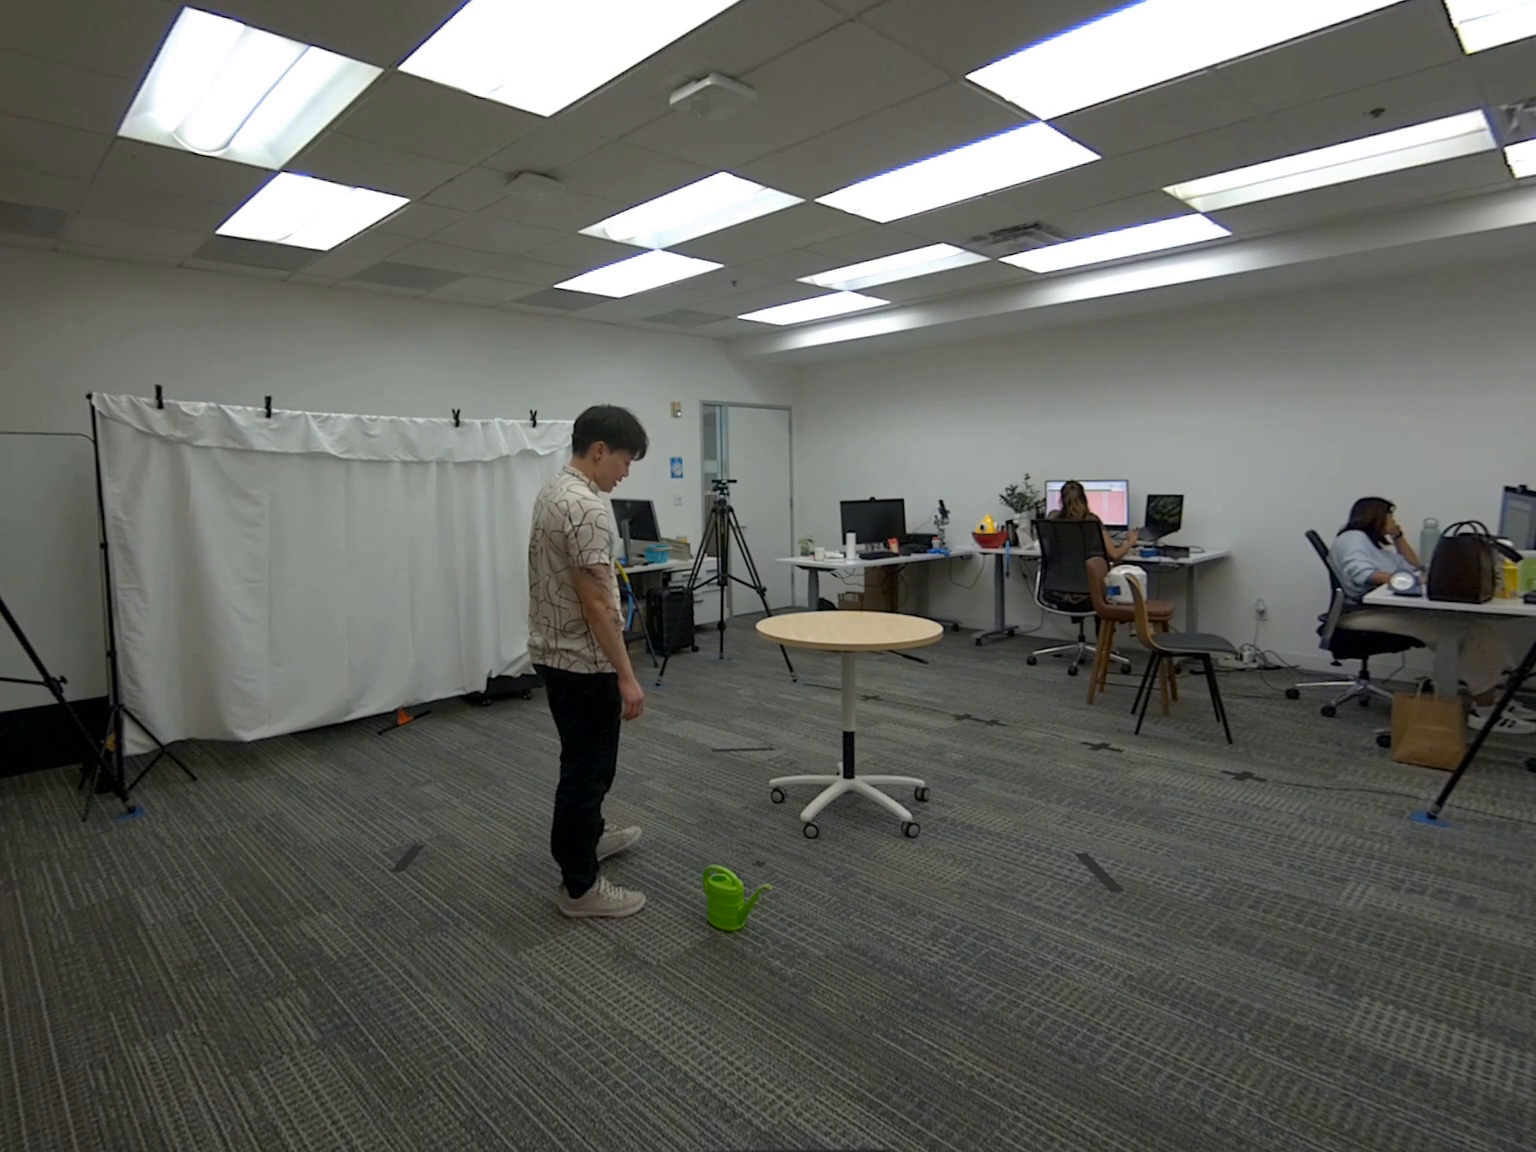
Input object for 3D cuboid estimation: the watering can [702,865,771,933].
[{"bbox_3d":[-0.106,1.008,2.654,0.095,0.176,0.286,-5,6,-36],"label":"watering can"}]
